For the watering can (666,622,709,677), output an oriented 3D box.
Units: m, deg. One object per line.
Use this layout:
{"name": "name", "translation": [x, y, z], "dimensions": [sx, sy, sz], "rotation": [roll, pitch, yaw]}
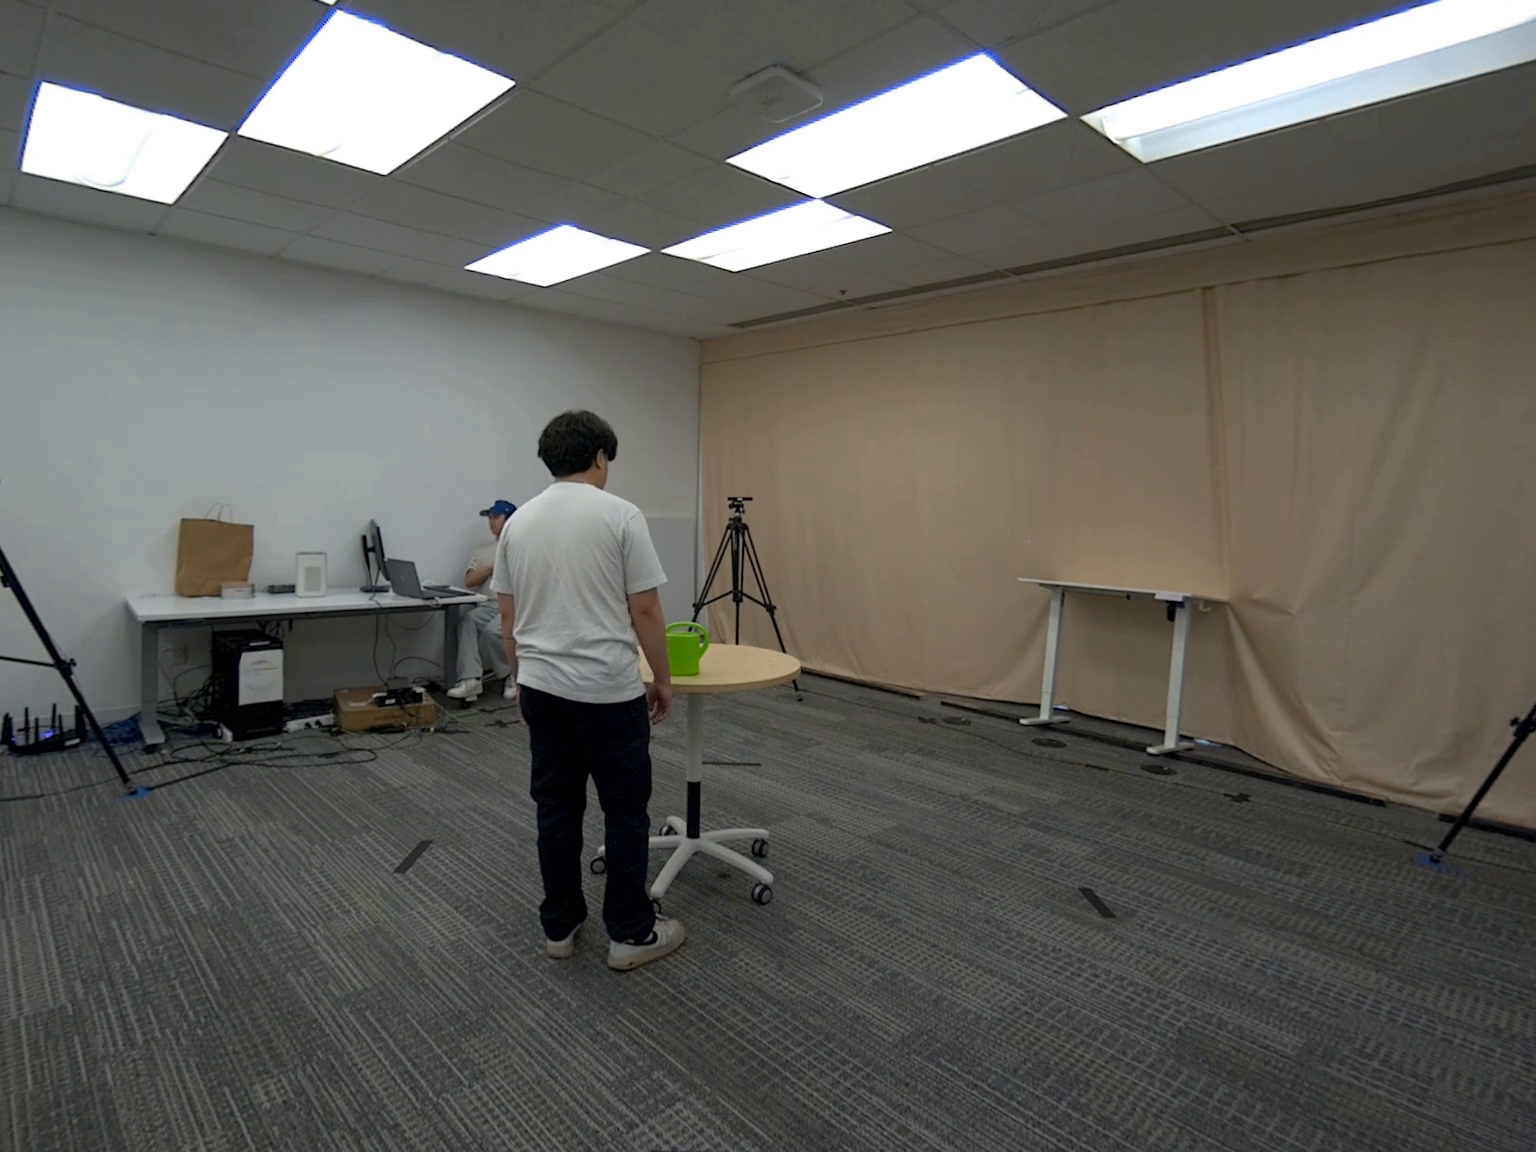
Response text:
{"name": "watering can", "translation": [-0.352, 0.248, 2.867], "dimensions": [0.280, 0.176, 0.097], "rotation": [3, 3, 8]}
